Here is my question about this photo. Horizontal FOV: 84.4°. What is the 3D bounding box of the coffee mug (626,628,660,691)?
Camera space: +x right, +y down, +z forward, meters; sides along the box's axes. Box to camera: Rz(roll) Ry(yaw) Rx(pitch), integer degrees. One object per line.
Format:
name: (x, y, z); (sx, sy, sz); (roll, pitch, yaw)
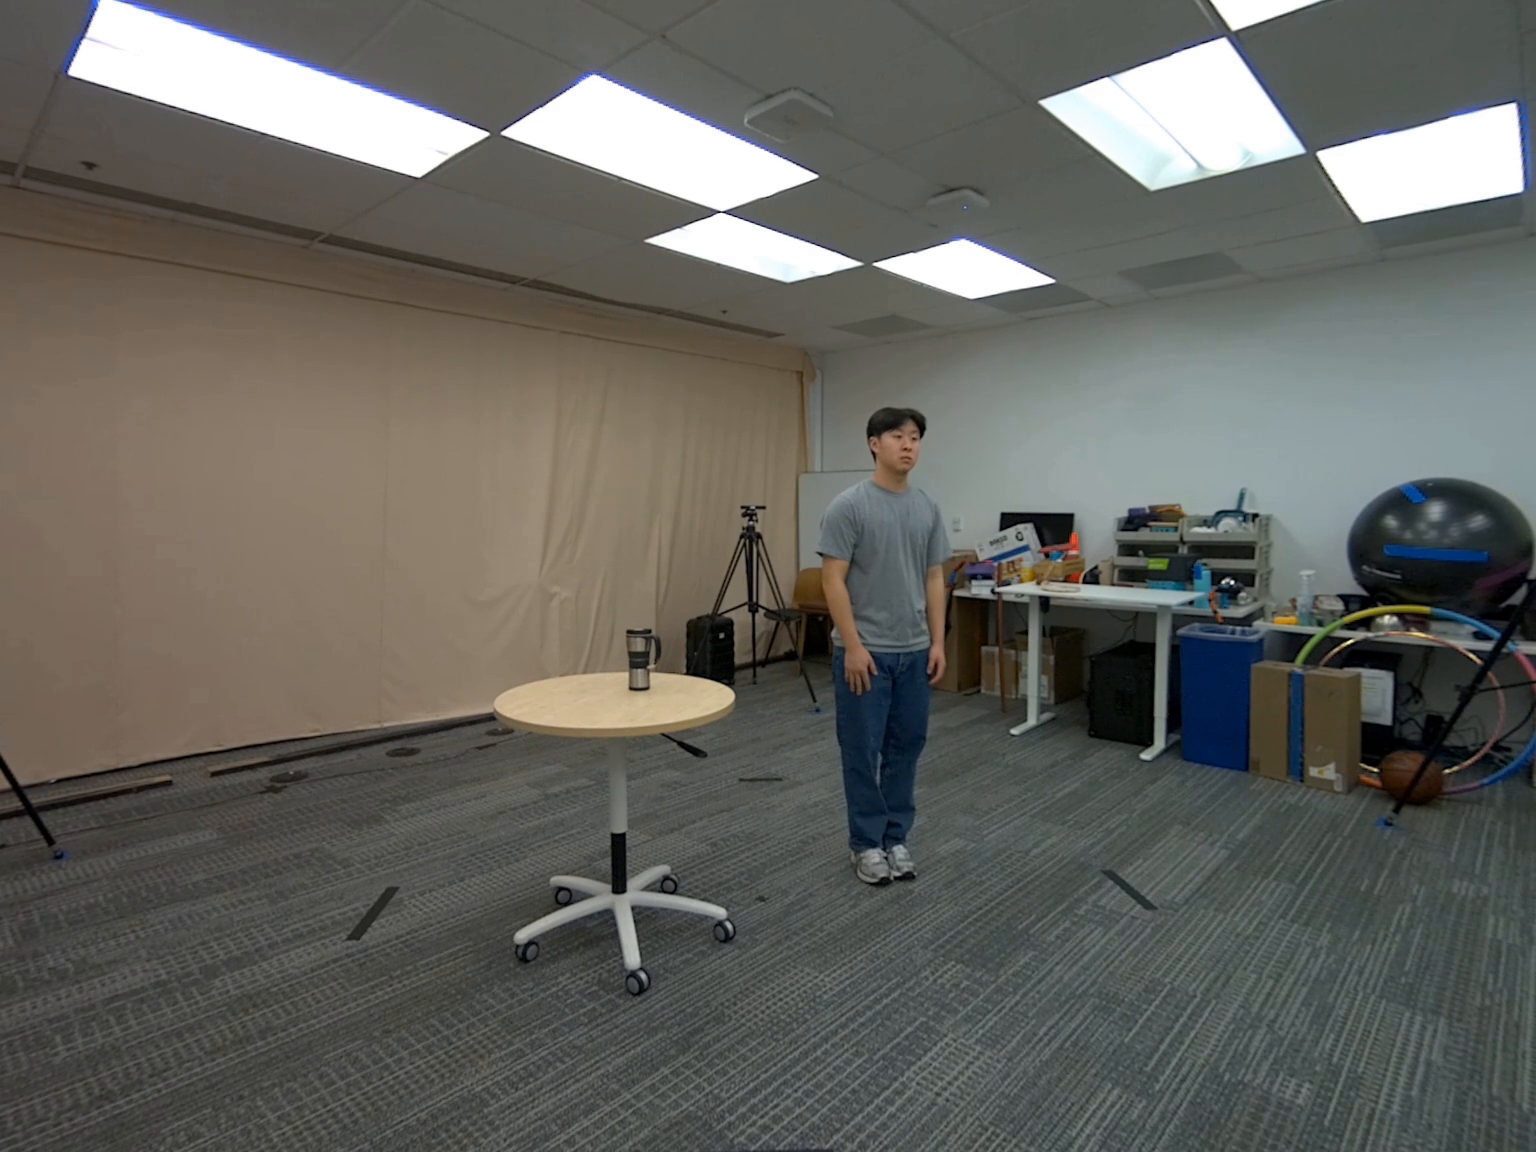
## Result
coffee mug: (-0.415, 0.281, 2.784); (0.126, 0.203, 0.085); (0, -2, 44)
